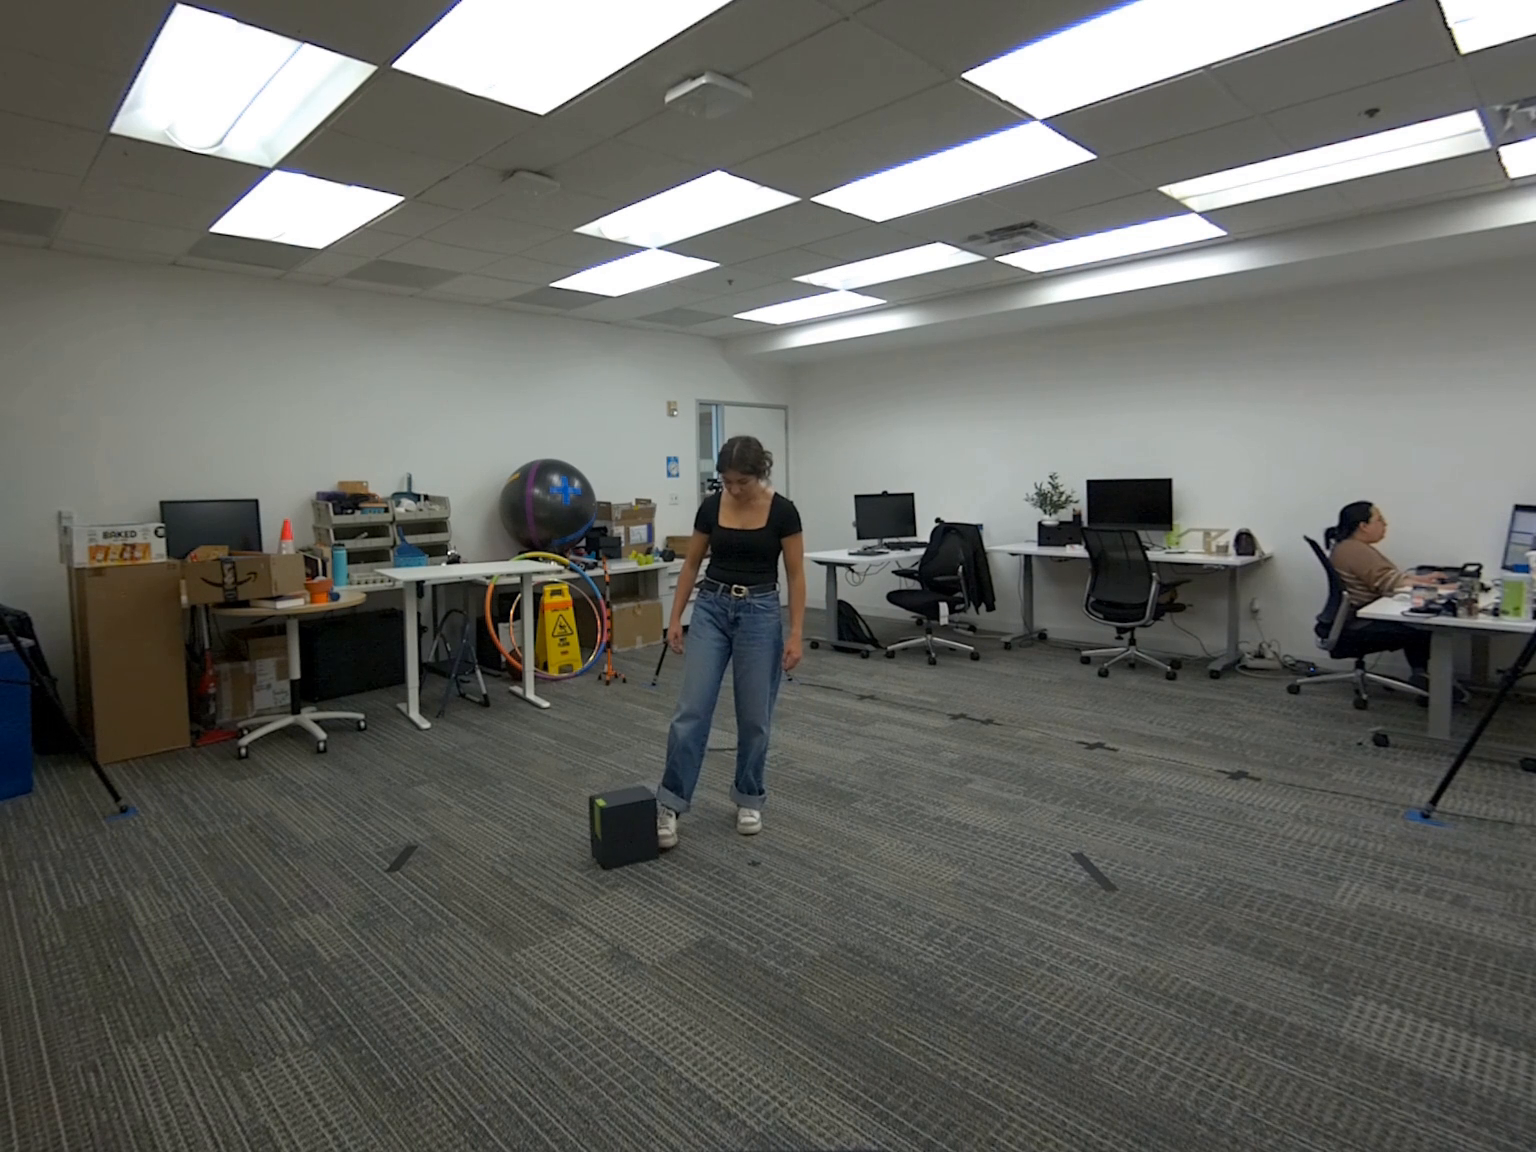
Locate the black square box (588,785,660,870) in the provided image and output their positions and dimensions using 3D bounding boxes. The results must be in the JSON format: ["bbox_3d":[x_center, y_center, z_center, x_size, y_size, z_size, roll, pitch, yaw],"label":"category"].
[{"bbox_3d":[-0.532,0.924,3.174,0.212,0.227,0.160,-4,5,-26],"label":"black square box"}]
